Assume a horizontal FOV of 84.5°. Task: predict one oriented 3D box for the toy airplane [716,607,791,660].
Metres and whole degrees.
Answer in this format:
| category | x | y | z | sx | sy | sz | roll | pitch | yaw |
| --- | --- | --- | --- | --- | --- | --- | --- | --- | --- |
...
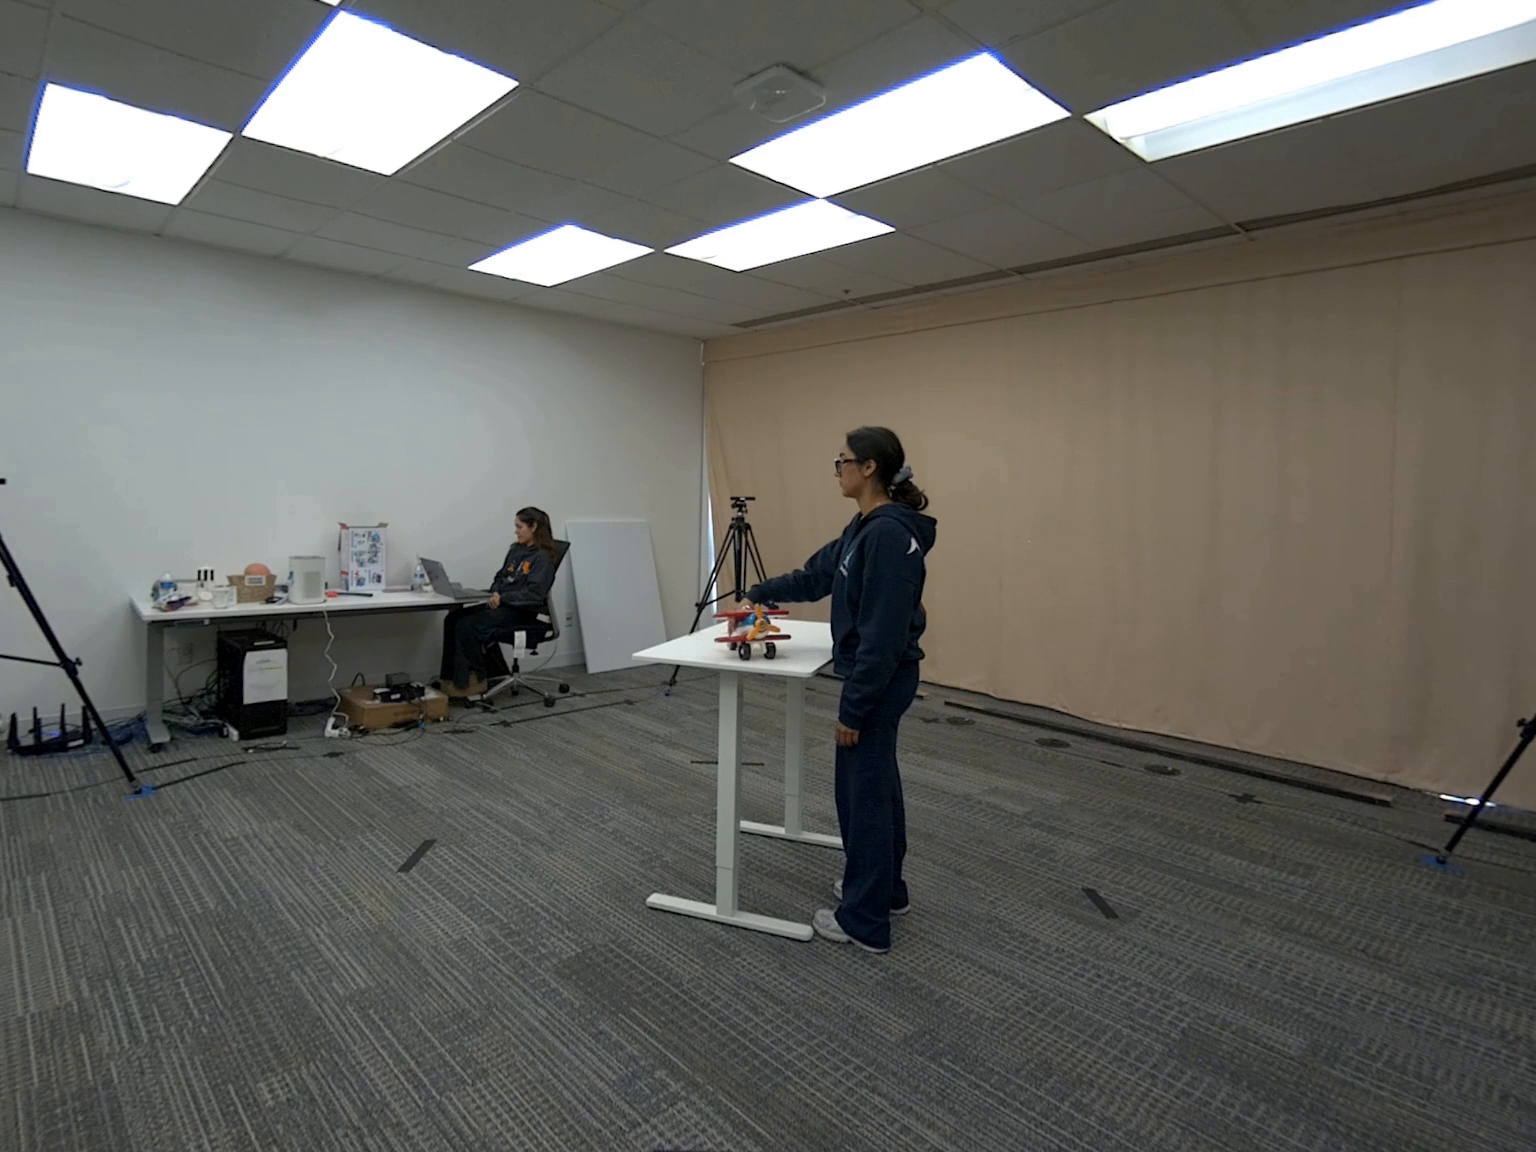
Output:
| category | x | y | z | sx | sy | sz | roll | pitch | yaw |
| --- | --- | --- | --- | --- | --- | --- | --- | --- | --- |
| toy airplane | -0.076 | 0.186 | 2.761 | 0.266 | 0.156 | 0.245 | 6 | 7 | 42 |
